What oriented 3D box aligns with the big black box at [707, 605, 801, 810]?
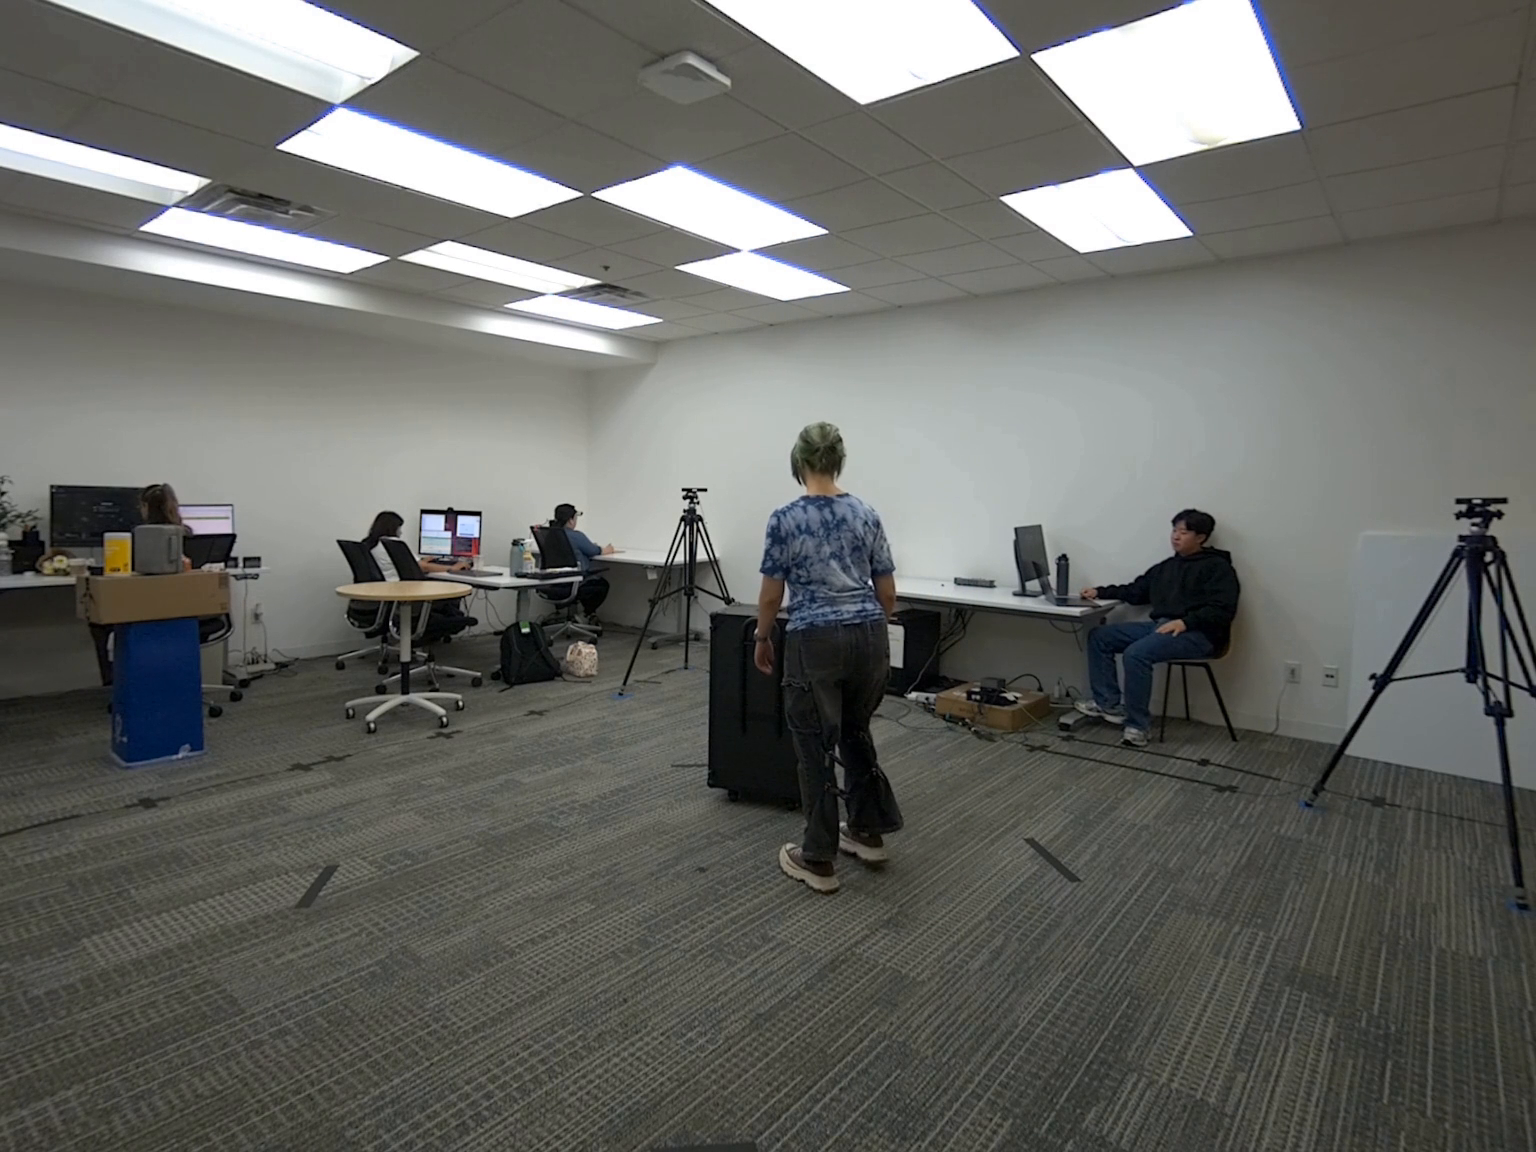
[{"bbox_3d":[0.006,0.582,3.834,0.532,0.859,0.390,3,4,18],"label":"big black box"}]
